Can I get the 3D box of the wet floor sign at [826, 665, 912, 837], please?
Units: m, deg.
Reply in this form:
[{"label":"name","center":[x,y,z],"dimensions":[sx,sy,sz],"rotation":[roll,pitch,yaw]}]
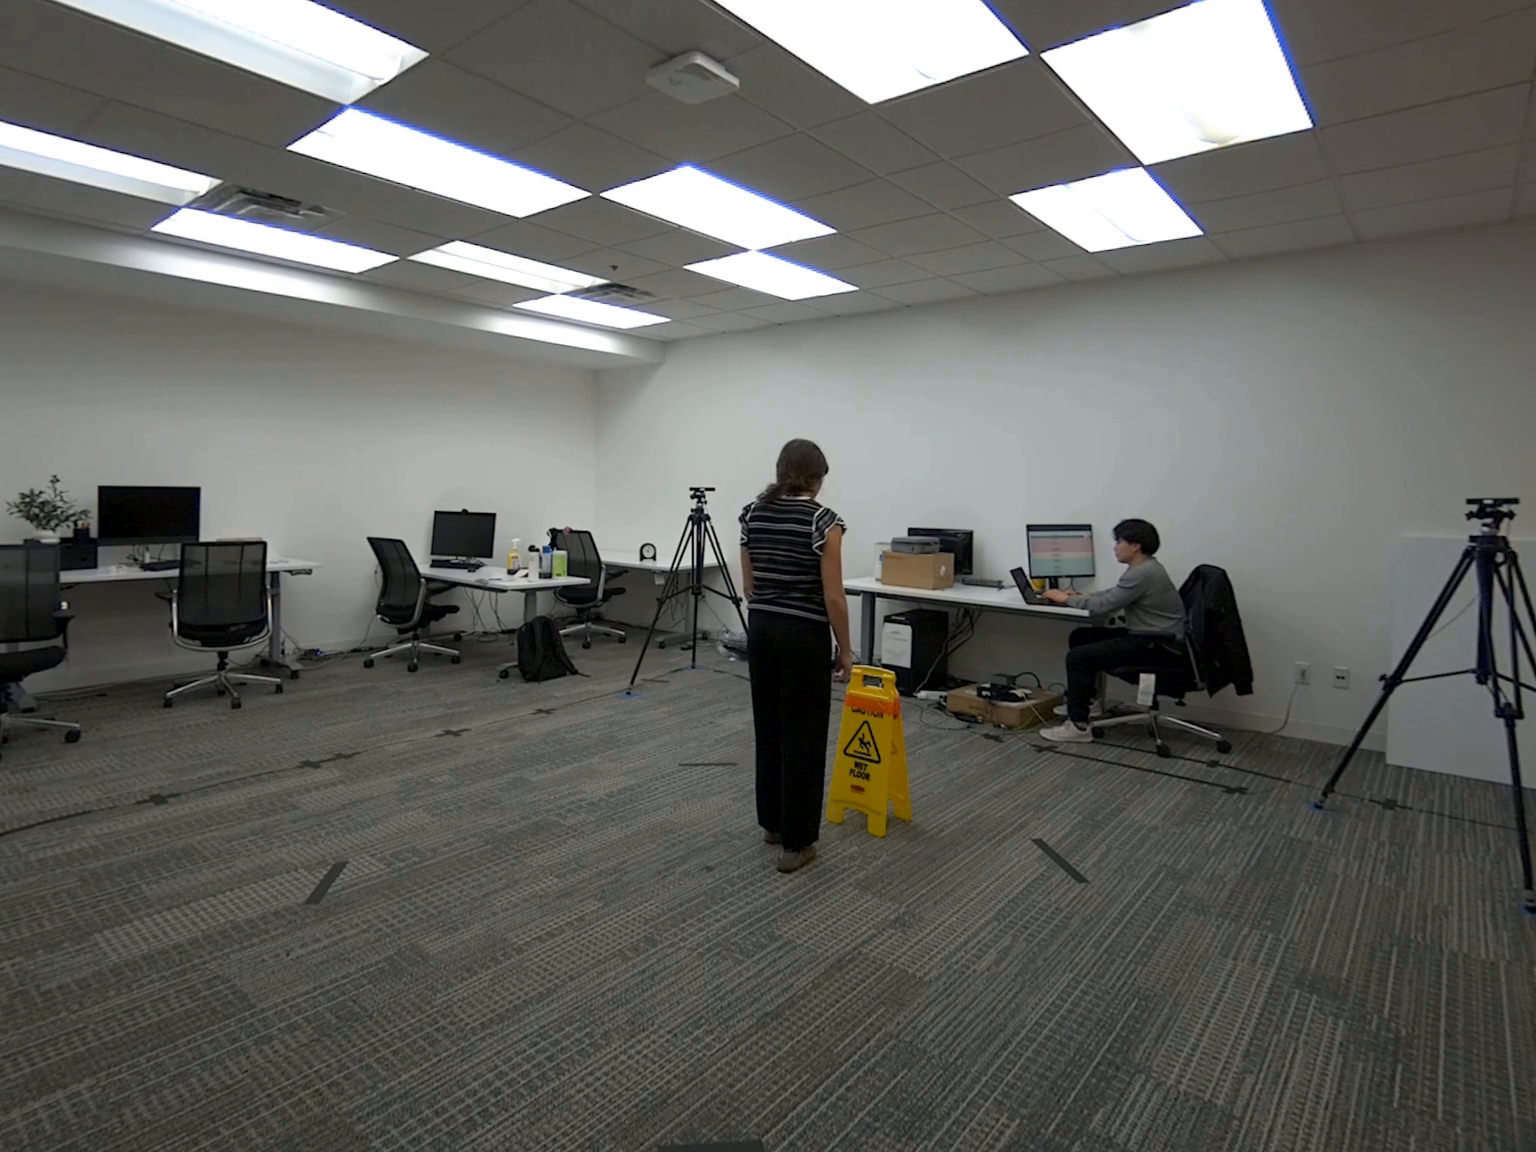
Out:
[{"label":"wet floor sign","center":[0.428,0.708,3.594],"dimensions":[0.292,0.644,0.281],"rotation":[5,3,37]}]
